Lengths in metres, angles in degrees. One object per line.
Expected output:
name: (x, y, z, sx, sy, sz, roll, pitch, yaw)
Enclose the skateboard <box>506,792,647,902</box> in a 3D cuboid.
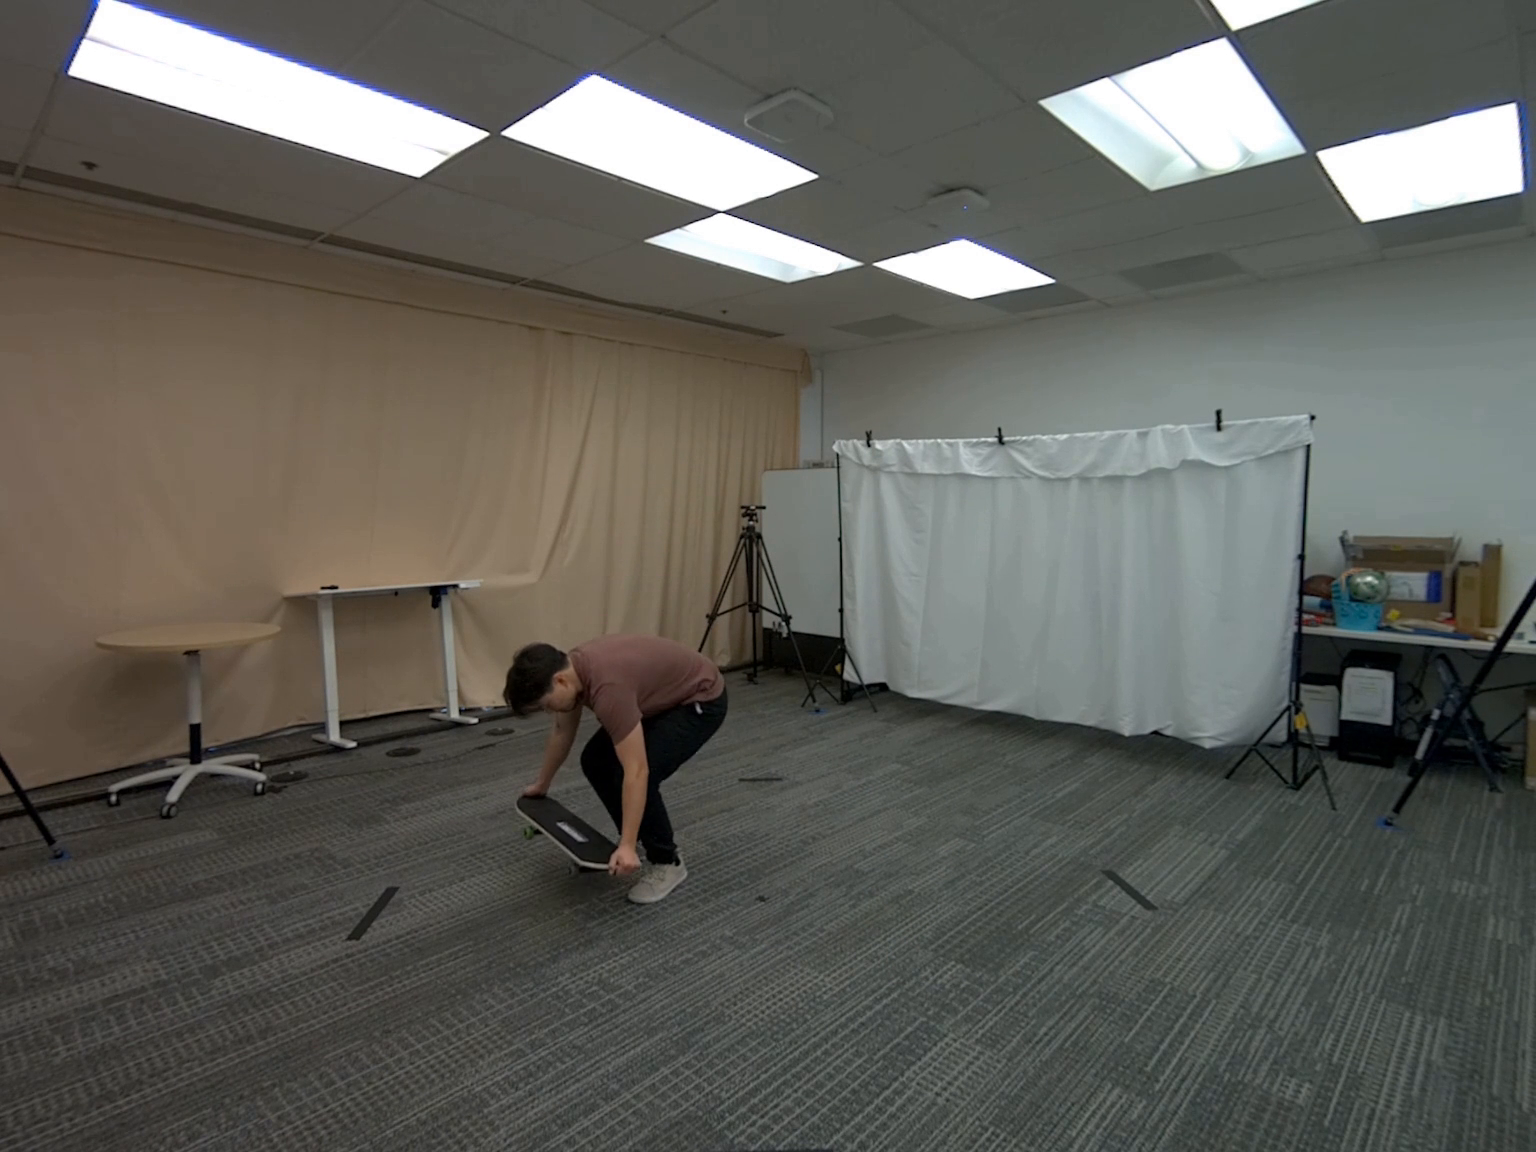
skateboard: (-0.707, 0.944, 3.036, 0.187, 0.110, 0.810, 7, 0, -36)
